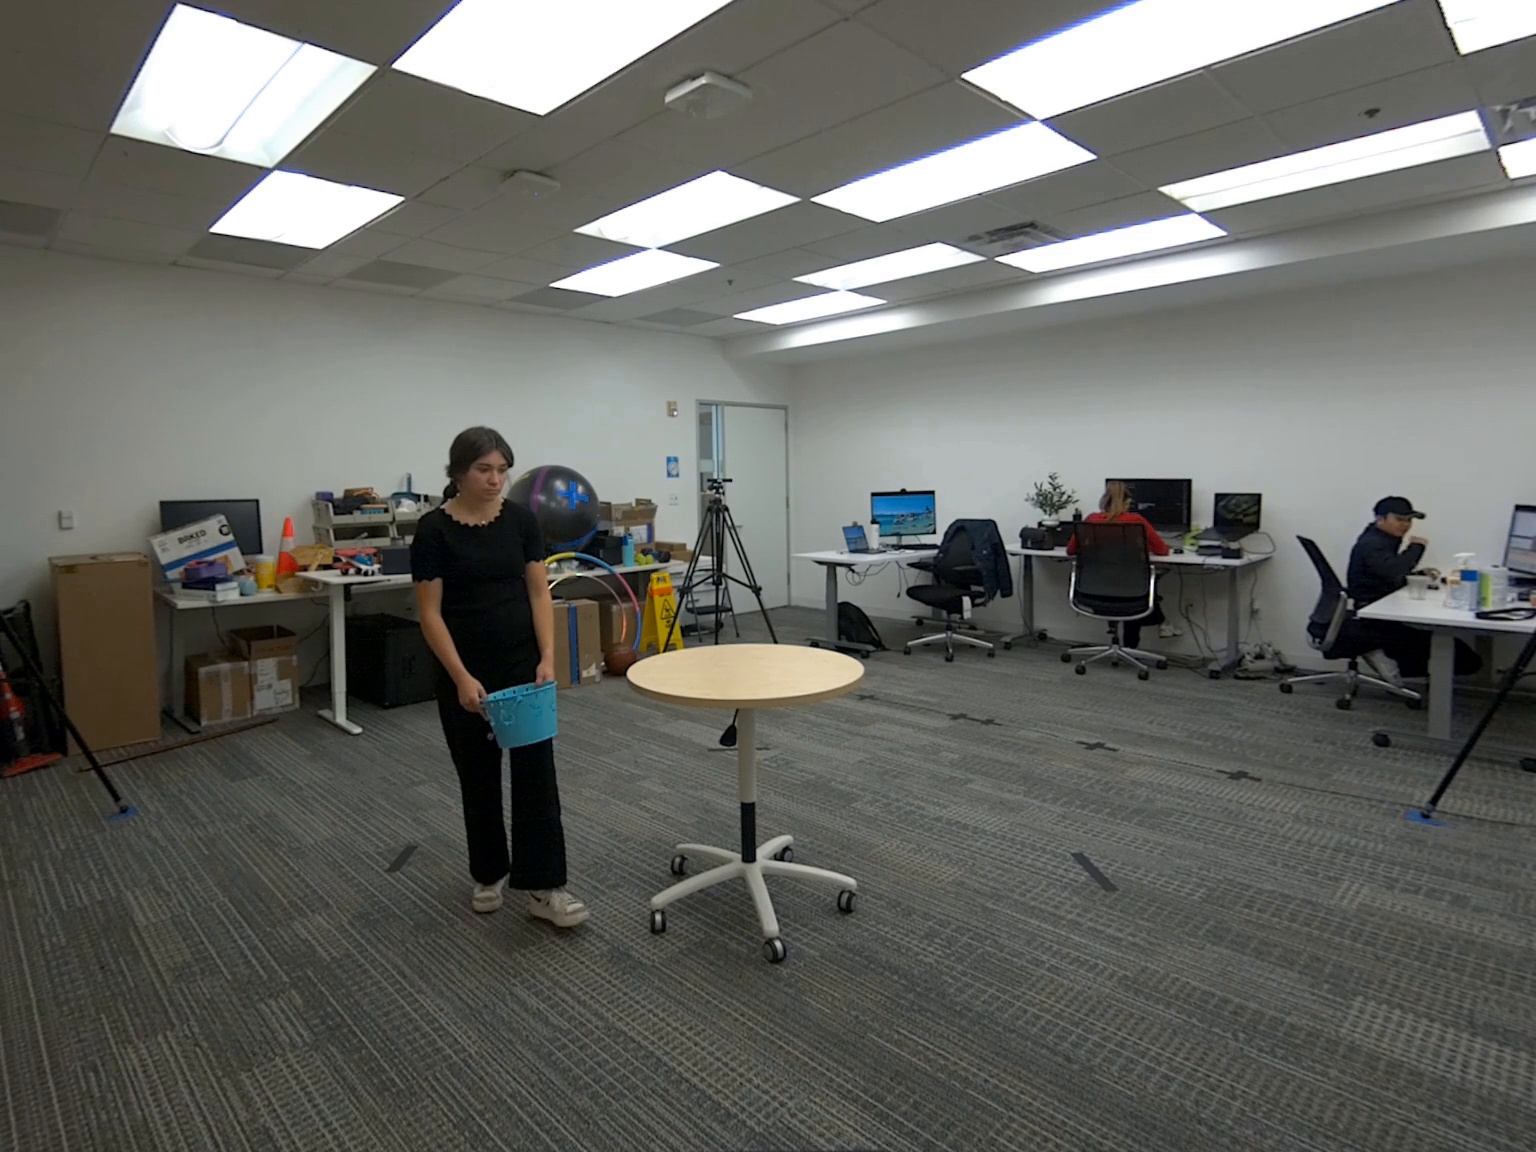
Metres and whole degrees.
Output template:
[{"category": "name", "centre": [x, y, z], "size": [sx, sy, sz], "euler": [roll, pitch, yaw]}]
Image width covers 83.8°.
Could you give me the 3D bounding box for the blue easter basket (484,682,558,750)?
[{"category": "blue easter basket", "centre": [-0.764, 0.422, 2.616], "size": [0.243, 0.155, 0.244], "euler": [-12, 3, -1]}]
